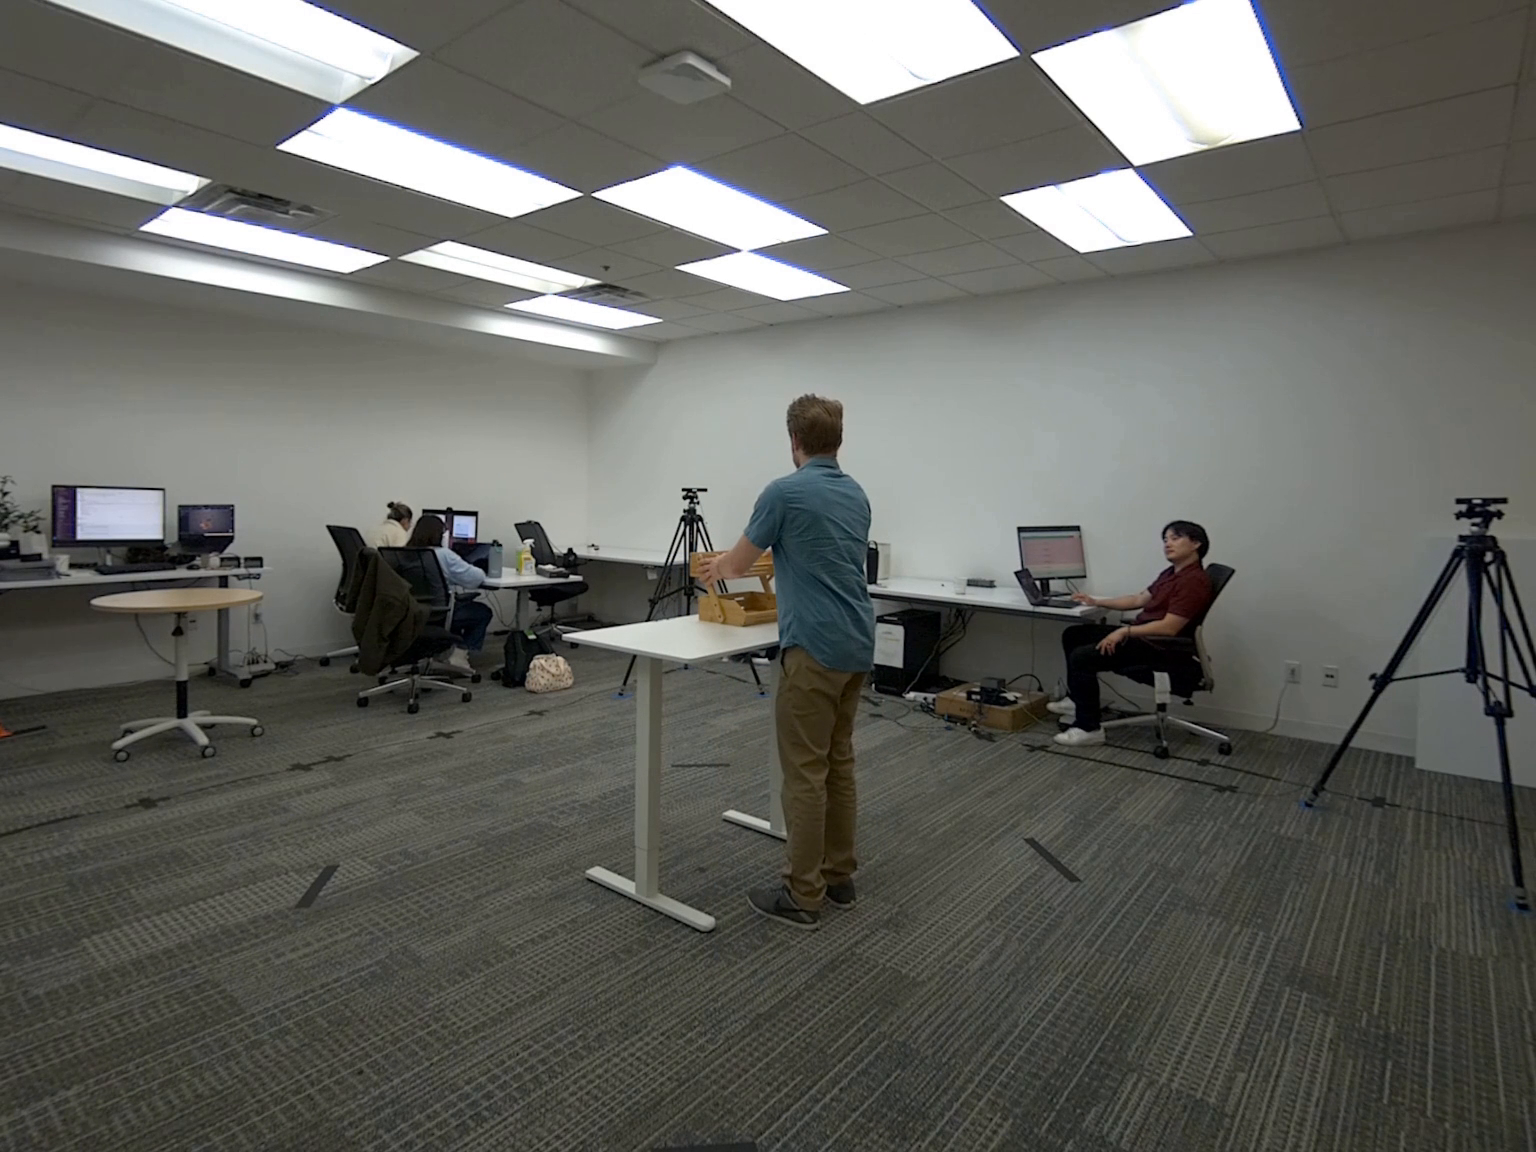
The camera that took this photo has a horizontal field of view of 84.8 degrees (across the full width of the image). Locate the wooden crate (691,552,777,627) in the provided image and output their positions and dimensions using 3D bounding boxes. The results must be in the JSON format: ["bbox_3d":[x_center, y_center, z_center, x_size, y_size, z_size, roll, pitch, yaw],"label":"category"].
[{"bbox_3d":[-0.105,0.034,3.328,0.312,0.272,0.315,3,5,43],"label":"wooden crate"}]
